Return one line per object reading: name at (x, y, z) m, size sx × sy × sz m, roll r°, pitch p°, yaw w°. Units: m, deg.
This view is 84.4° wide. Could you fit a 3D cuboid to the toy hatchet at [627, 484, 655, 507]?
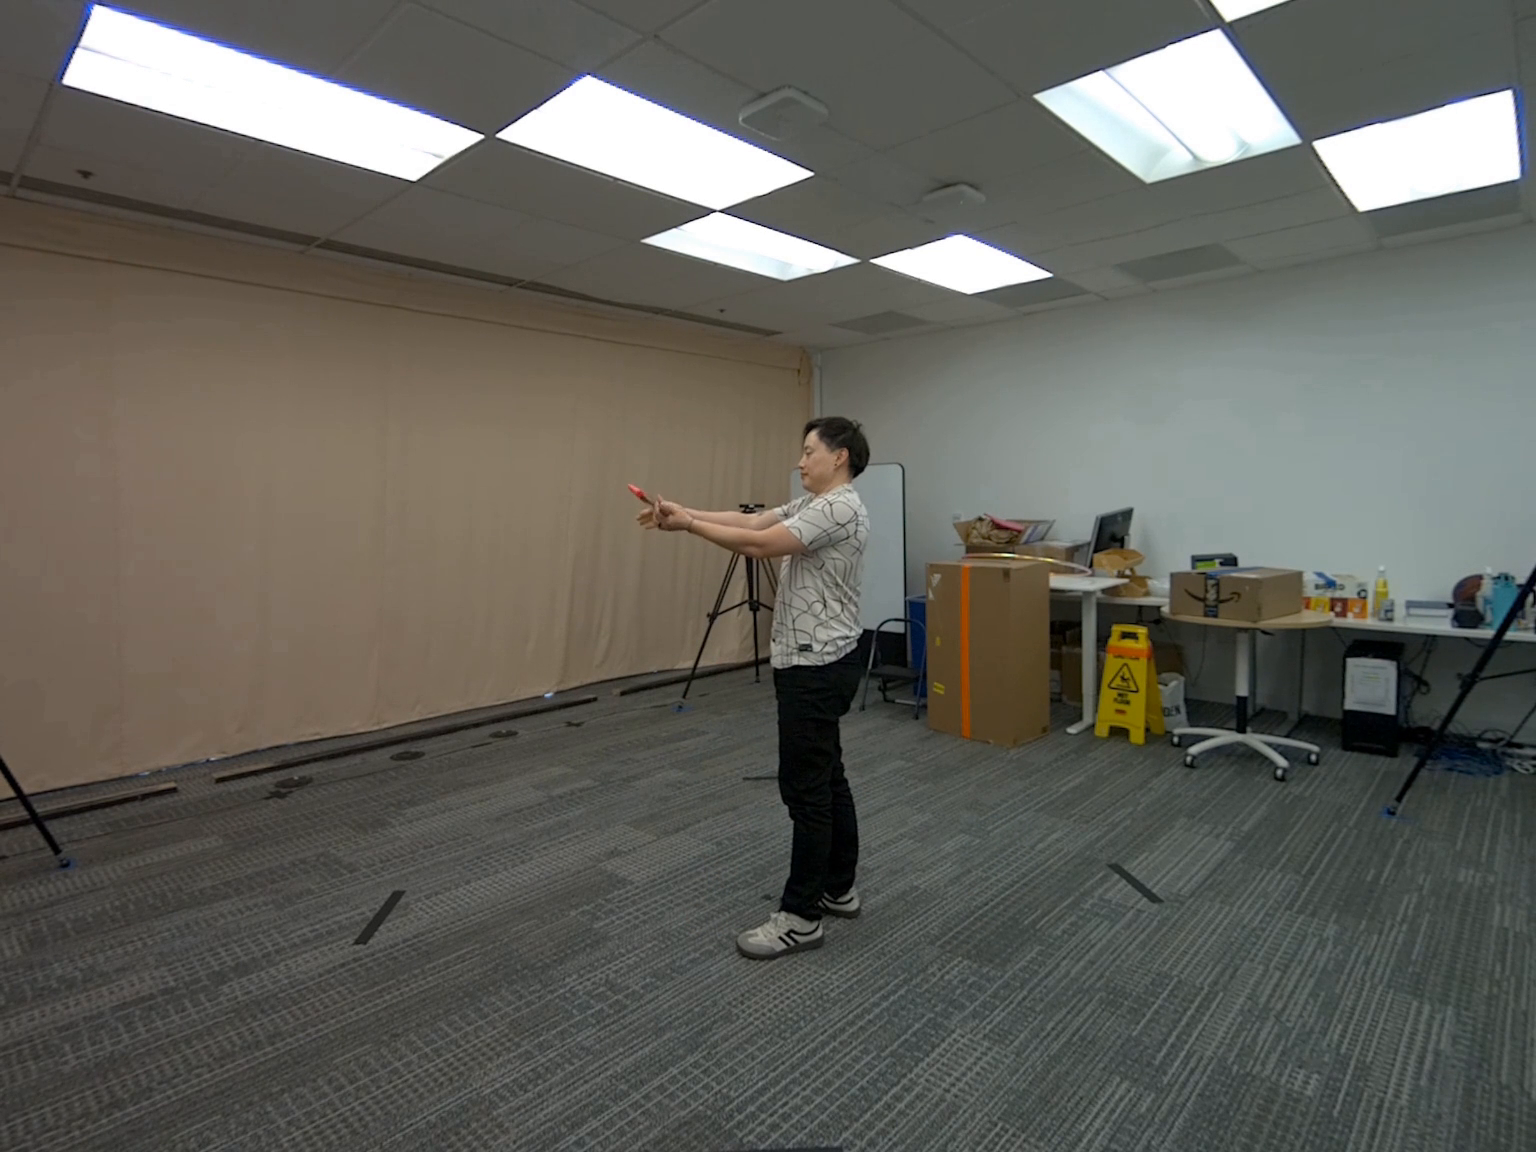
toy hatchet at (-0.397, -0.259, 2.795) m, size 0.128 × 0.029 × 0.276 m, roll 39°, pitch -2°, yaw -20°
